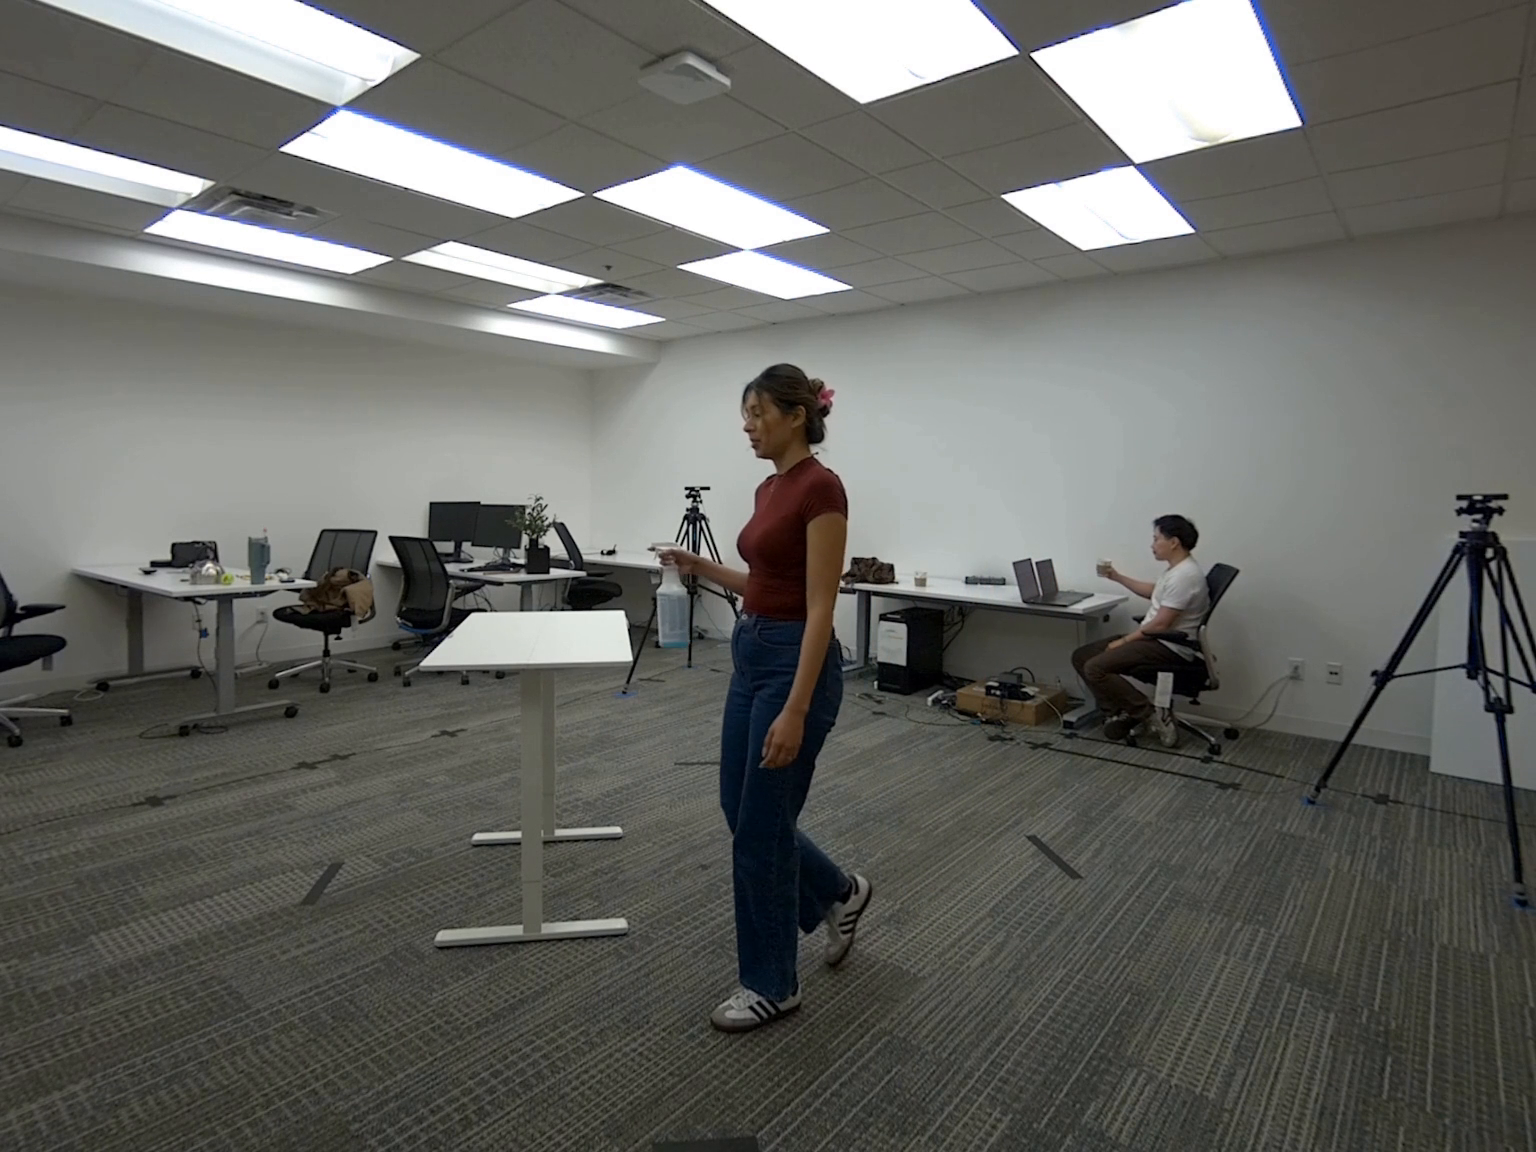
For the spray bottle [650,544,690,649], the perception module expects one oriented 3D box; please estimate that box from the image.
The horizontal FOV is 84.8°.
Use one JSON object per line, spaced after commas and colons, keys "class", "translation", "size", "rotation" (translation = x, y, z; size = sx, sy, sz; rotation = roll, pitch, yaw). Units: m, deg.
{"class": "spray bottle", "translation": [-0.275, 0.052, 2.407], "size": [0.091, 0.298, 0.086], "rotation": [-6, -2, 10]}
